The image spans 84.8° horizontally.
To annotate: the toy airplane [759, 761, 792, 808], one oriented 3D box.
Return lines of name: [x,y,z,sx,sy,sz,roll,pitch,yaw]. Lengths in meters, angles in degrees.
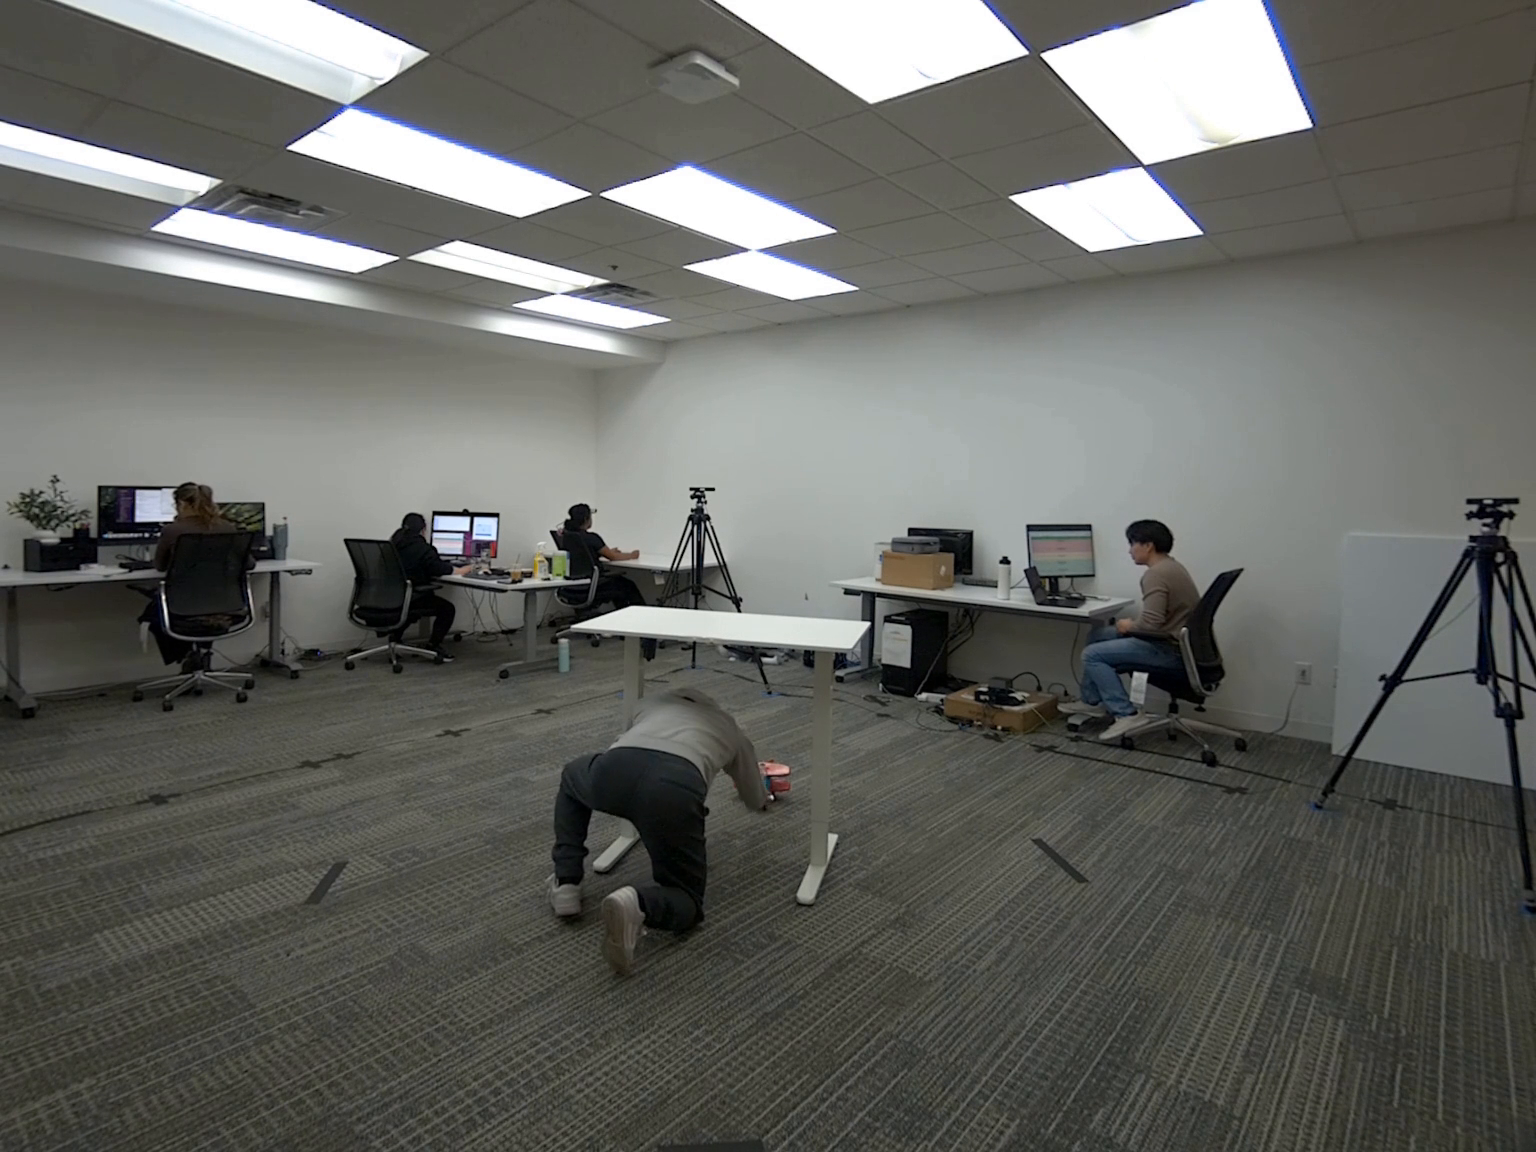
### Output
toy airplane: [-0.021,0.931,3.797,0.246,0.156,0.266,-1,4,-23]
